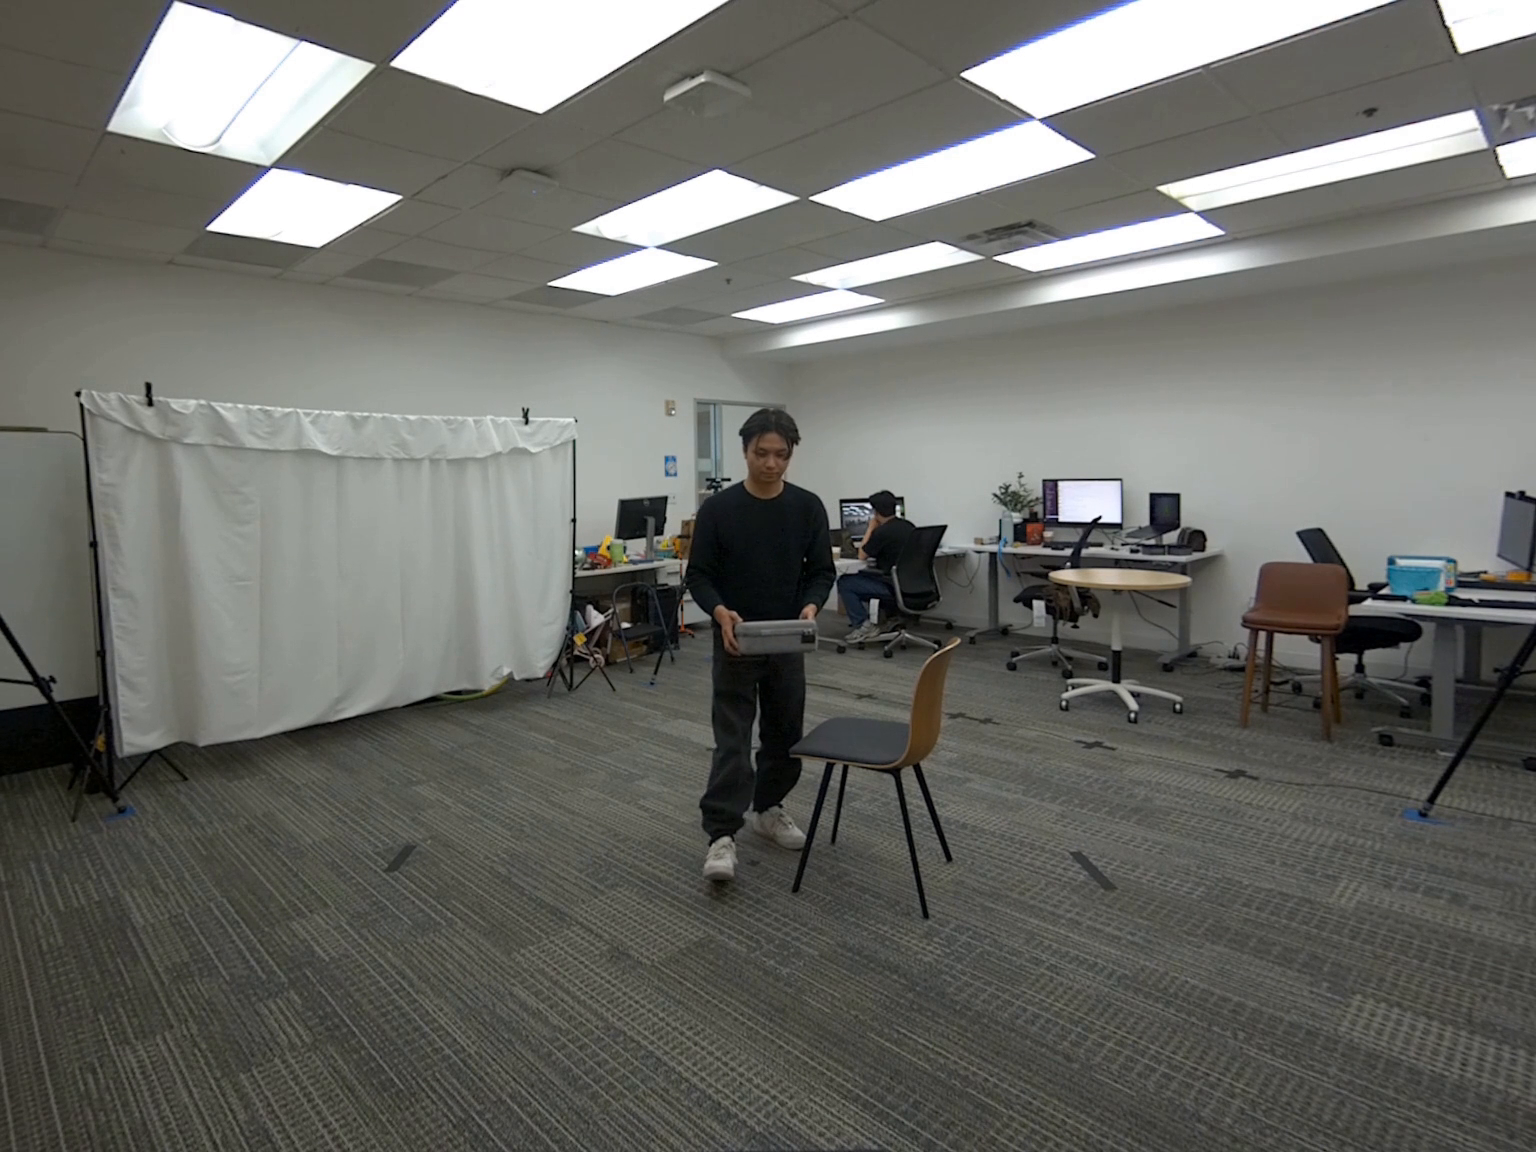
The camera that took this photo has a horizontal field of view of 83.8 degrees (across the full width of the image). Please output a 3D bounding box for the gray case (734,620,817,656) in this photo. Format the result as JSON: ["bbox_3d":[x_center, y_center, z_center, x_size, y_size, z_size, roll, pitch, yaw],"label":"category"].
[{"bbox_3d":[0.020,0.201,2.862,0.256,0.104,0.261,-3,-1,-5],"label":"gray case"}]
